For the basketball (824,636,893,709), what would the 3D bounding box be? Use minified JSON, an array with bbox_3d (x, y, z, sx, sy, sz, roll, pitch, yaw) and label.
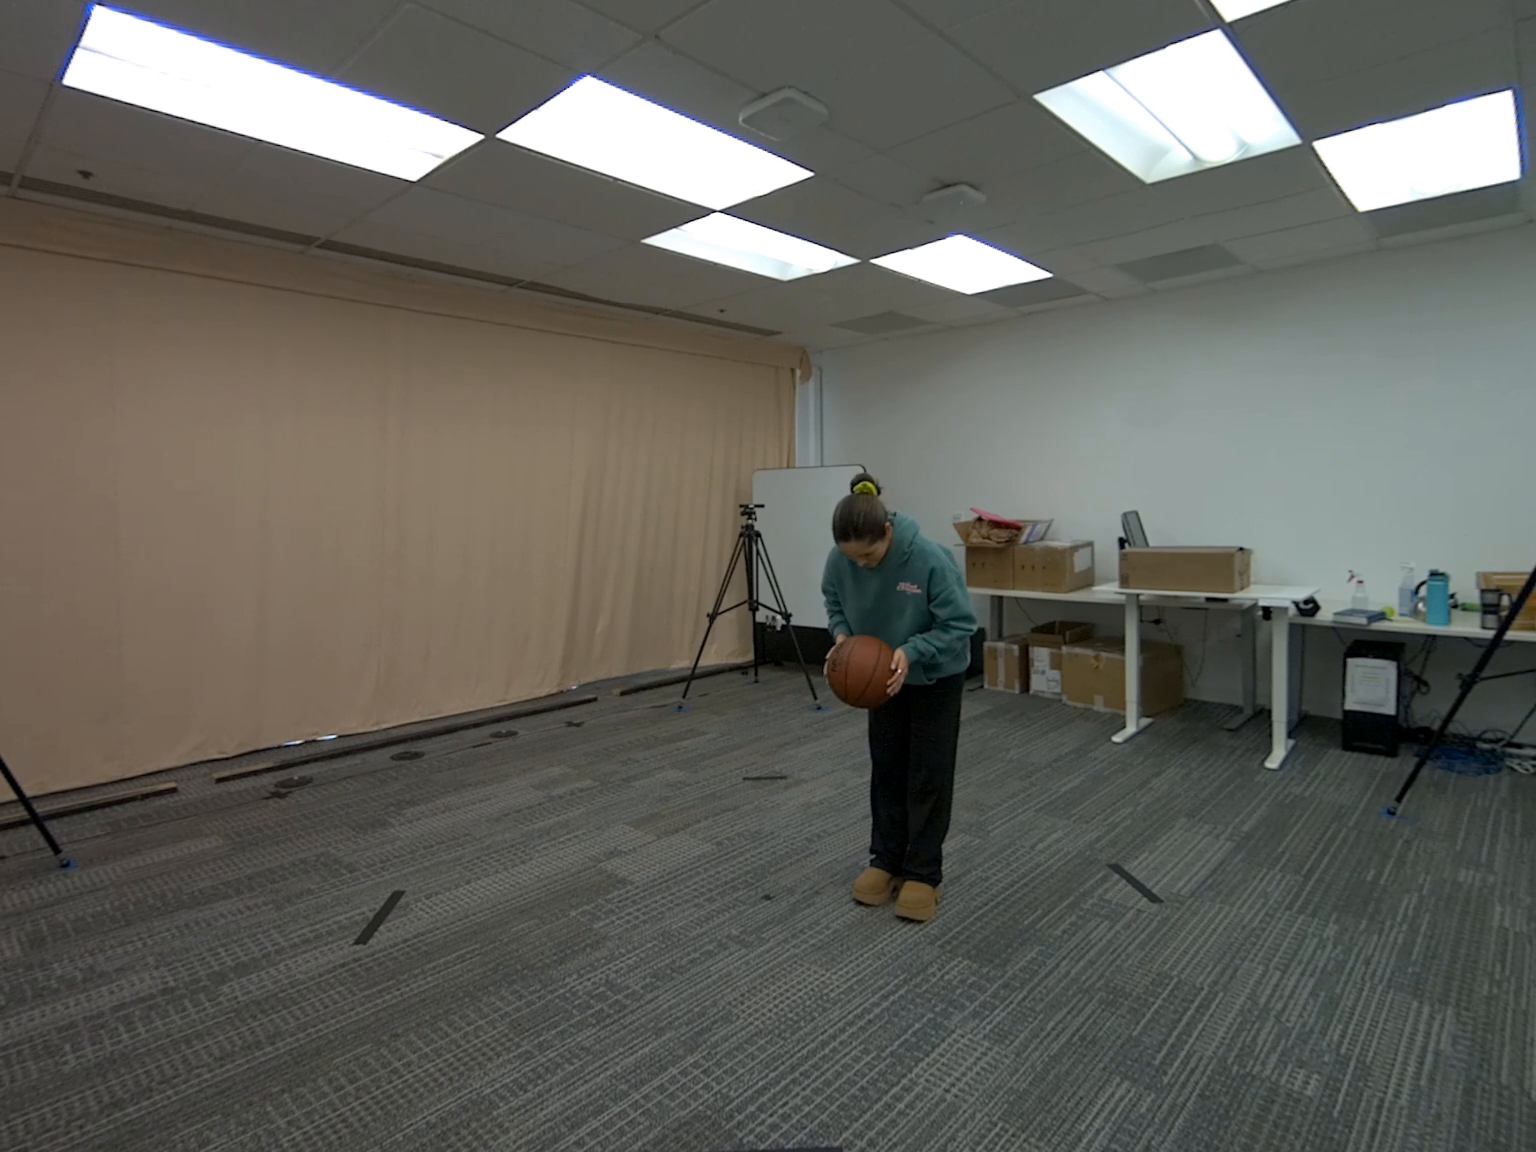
[{"bbox_3d":[0.310,0.317,2.734,0.236,0.235,0.237,-1,4,-2],"label":"basketball"}]
